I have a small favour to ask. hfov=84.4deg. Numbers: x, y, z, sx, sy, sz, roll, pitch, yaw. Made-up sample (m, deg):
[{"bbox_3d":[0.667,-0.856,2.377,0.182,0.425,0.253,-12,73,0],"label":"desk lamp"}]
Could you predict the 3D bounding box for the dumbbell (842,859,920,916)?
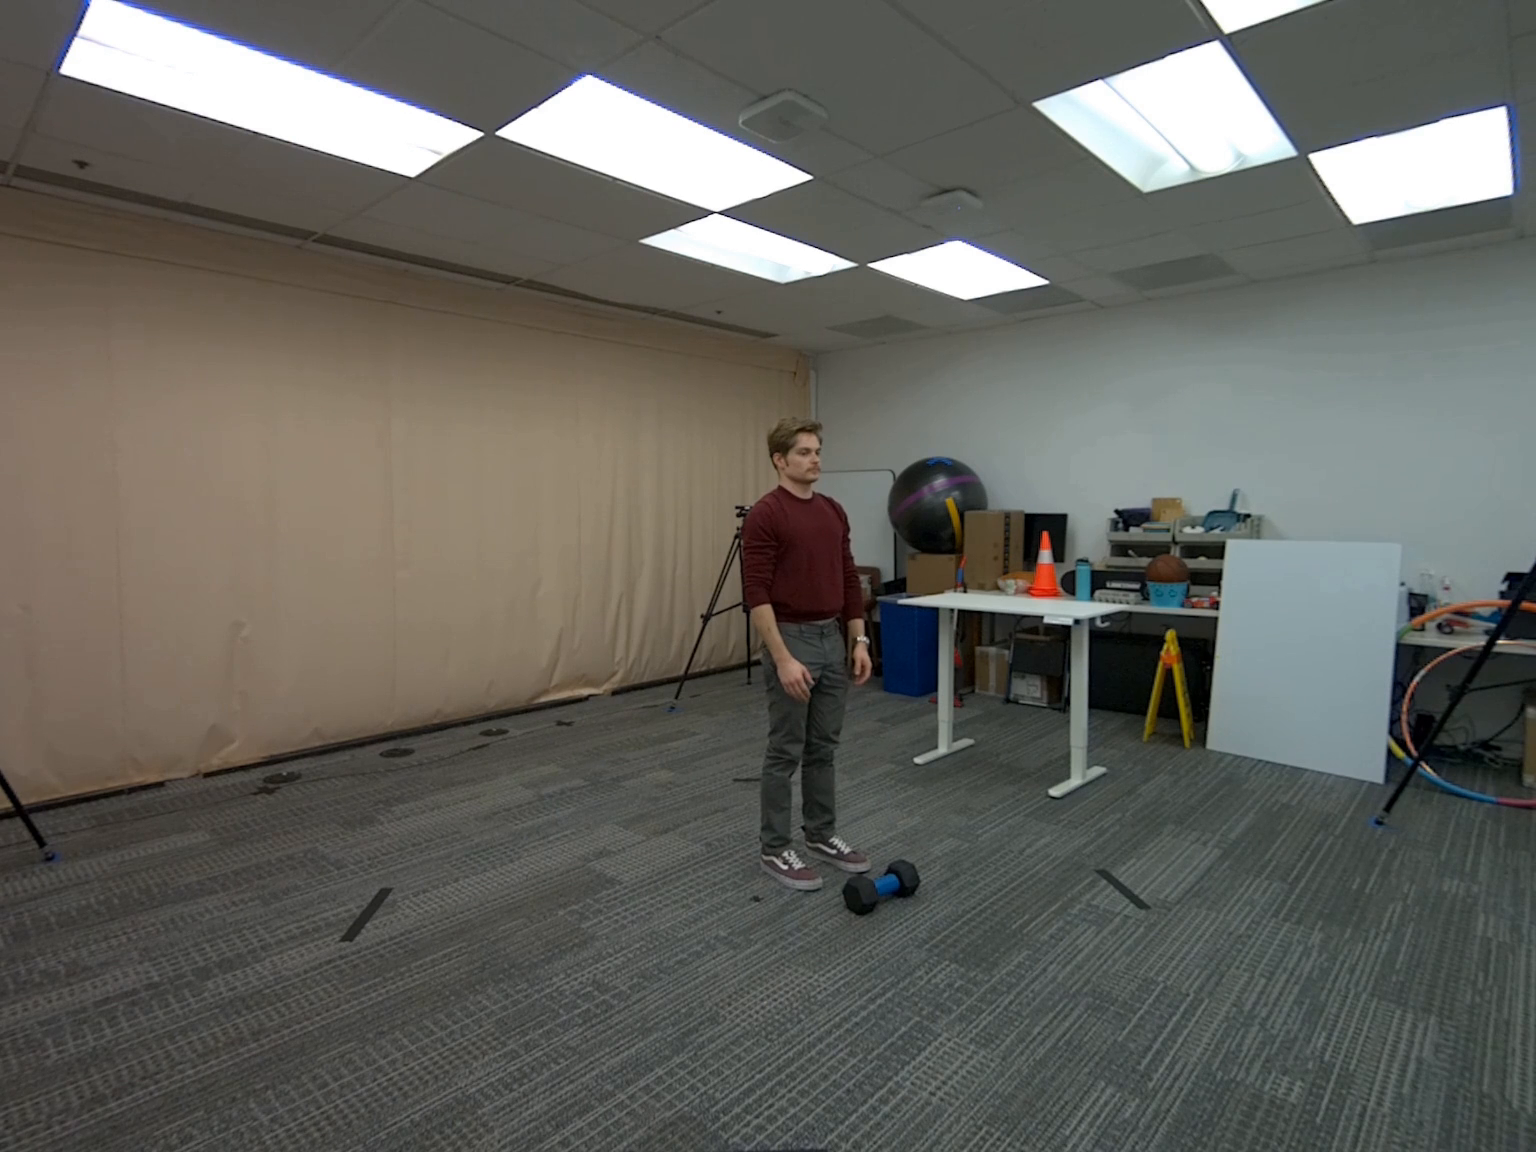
[{"bbox_3d":[0.404,1.091,2.956,0.285,0.125,0.110,-4,-22,-37],"label":"dumbbell"}]
